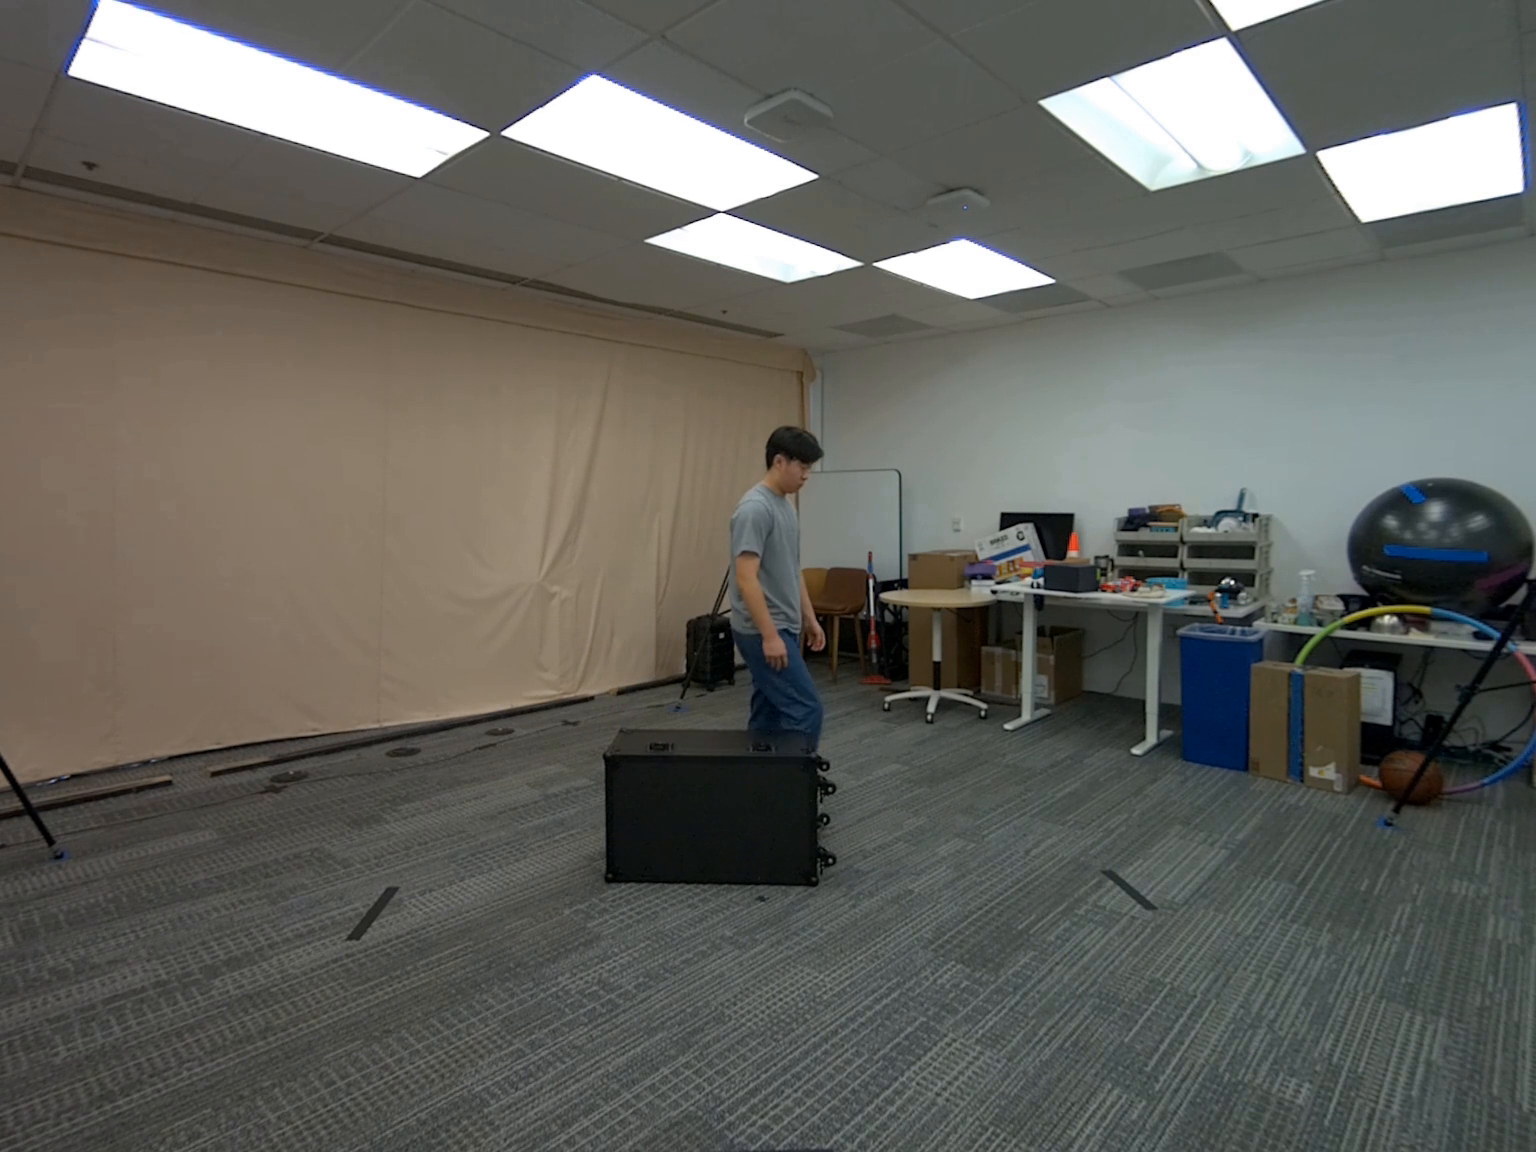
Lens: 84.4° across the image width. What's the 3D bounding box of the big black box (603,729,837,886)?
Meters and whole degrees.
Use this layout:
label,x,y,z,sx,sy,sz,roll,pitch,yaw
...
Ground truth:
label,x,y,z,sx,sy,sz,roll,pitch,yaw
big black box,-0.182,0.877,3.265,0.865,0.520,0.395,0,4,3
